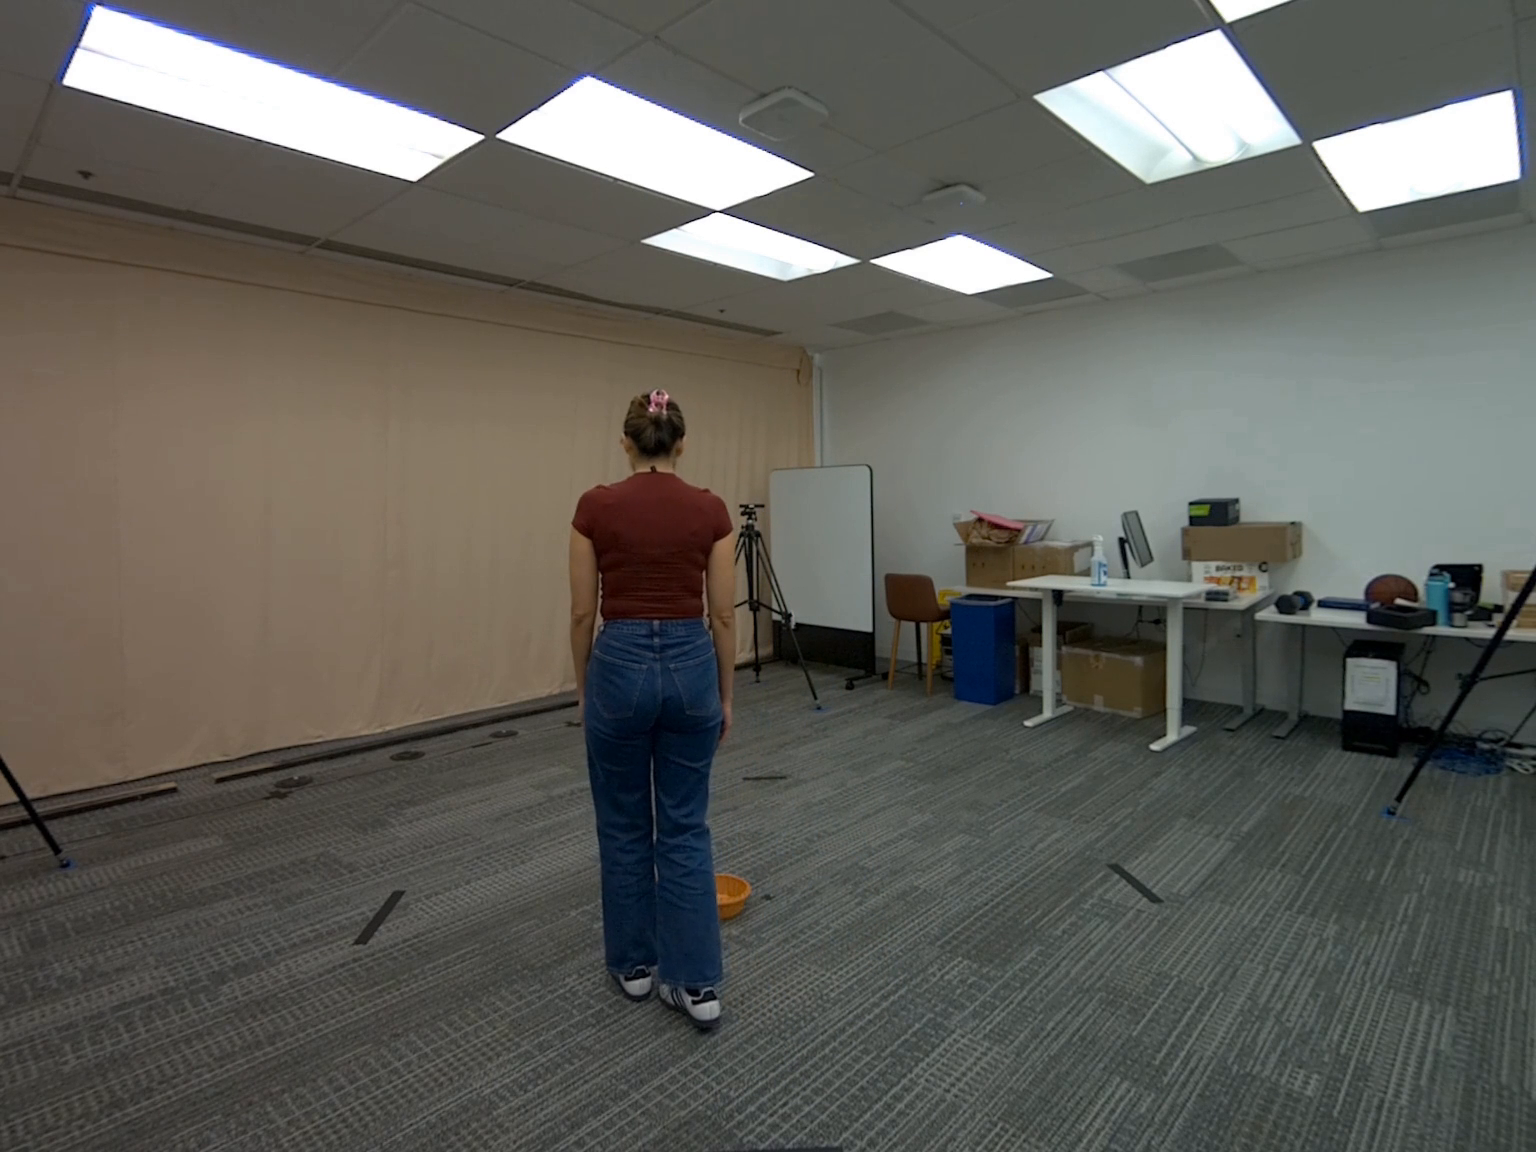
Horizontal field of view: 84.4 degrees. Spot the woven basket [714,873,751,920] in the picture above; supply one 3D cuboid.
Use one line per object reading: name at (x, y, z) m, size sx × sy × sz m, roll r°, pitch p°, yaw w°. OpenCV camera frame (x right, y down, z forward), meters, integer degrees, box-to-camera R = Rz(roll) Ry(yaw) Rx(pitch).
woven basket at (-0.229, 1.112, 2.899) m, size 0.349 × 0.073 × 0.254 m, roll -1°, pitch 3°, yaw -5°
